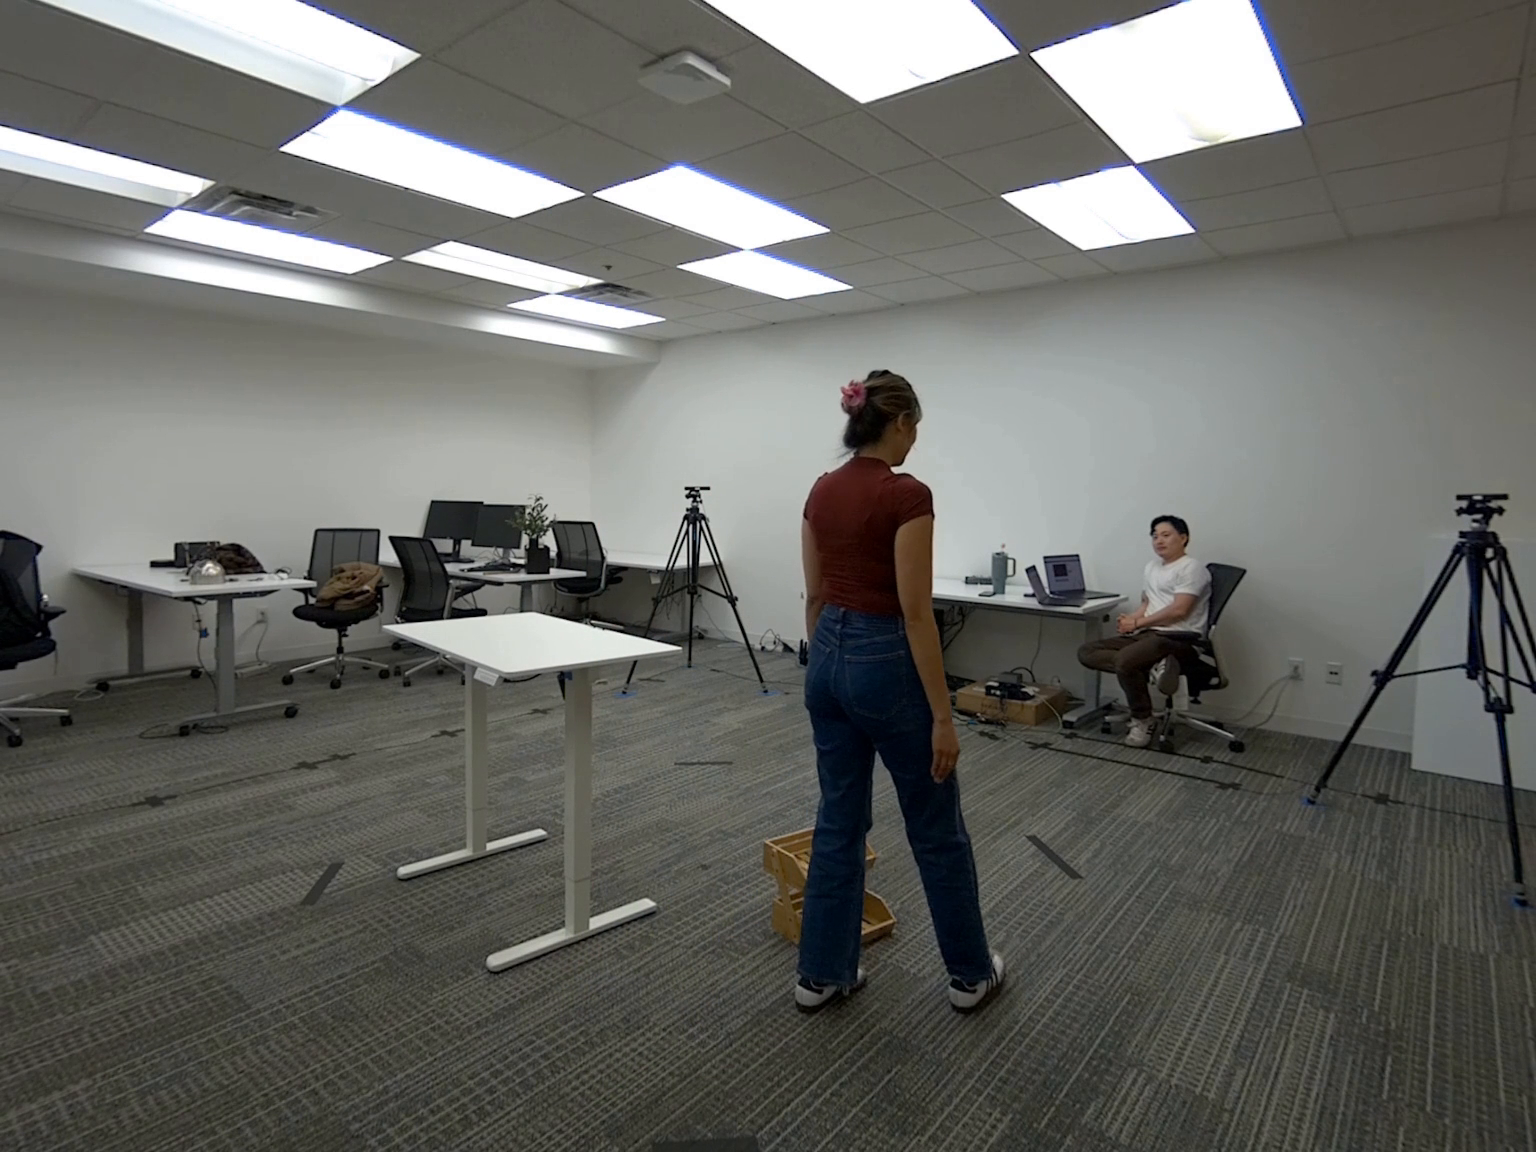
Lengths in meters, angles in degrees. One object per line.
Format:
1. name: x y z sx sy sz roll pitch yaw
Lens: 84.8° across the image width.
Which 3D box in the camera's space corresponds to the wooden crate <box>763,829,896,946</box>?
1. wooden crate: 0.189 0.976 2.689 0.315 0.272 0.312 -2 6 -37
